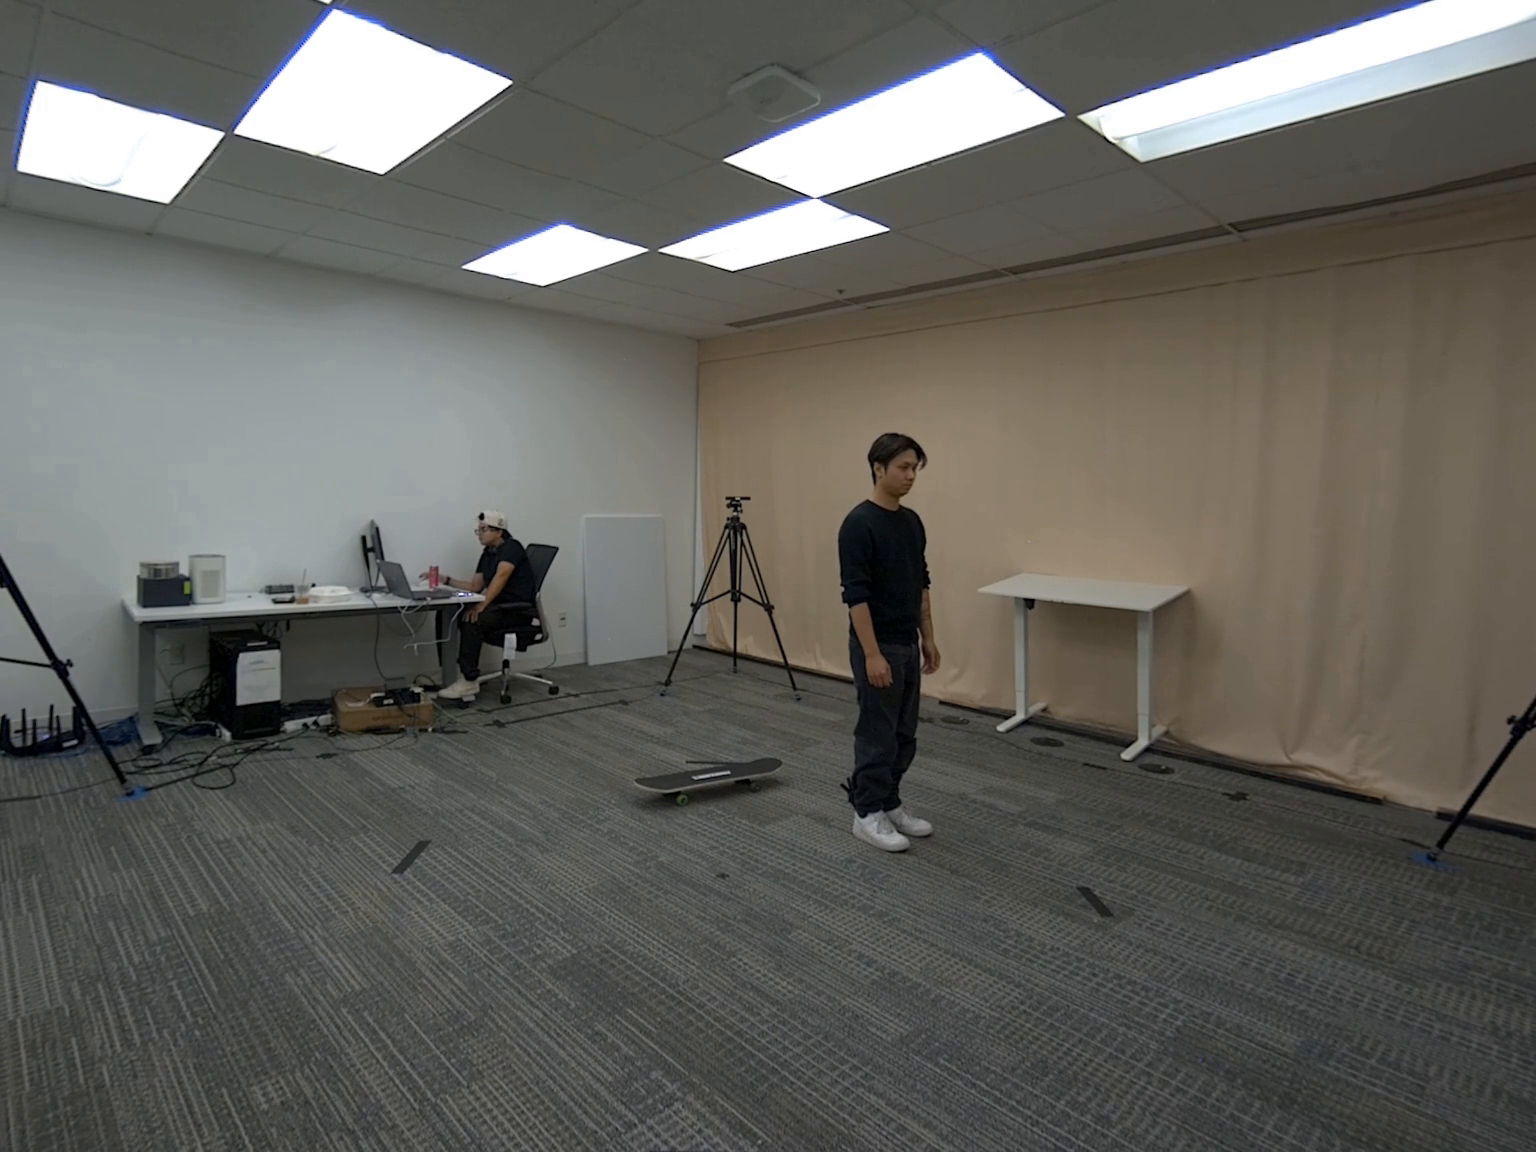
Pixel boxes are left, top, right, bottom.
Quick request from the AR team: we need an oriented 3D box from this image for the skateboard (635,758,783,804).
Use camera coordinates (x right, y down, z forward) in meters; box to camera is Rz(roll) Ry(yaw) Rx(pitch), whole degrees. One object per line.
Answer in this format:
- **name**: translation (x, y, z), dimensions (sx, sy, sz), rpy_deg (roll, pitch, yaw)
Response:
- **skateboard**: translation (-0.275, 0.967, 3.977), dimensions (0.769, 0.110, 0.198), rpy_deg (-1, 5, -33)
